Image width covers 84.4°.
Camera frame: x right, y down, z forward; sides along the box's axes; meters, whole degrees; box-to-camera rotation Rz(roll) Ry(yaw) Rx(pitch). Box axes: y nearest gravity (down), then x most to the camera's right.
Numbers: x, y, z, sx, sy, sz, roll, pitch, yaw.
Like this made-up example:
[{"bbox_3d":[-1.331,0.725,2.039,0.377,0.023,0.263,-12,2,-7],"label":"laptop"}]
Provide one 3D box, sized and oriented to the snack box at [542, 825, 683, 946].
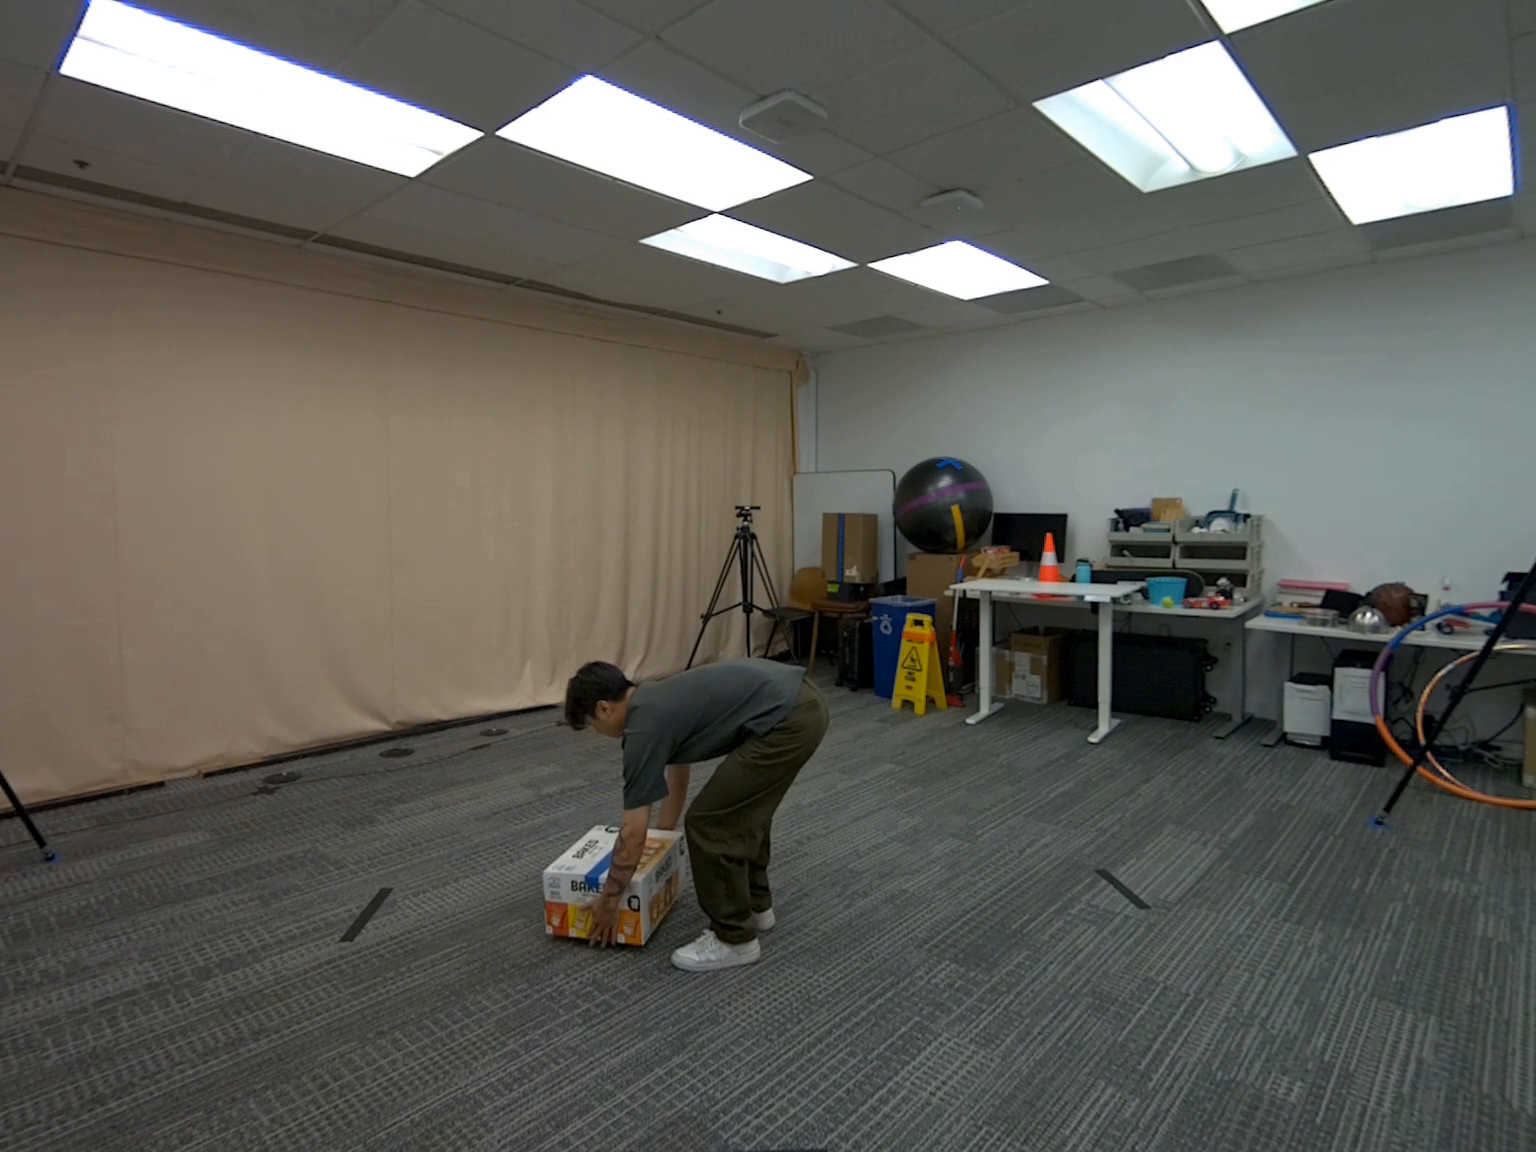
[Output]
[{"bbox_3d":[-0.504,1.024,2.821,0.346,0.205,0.399,0,5,15],"label":"snack box"}]
